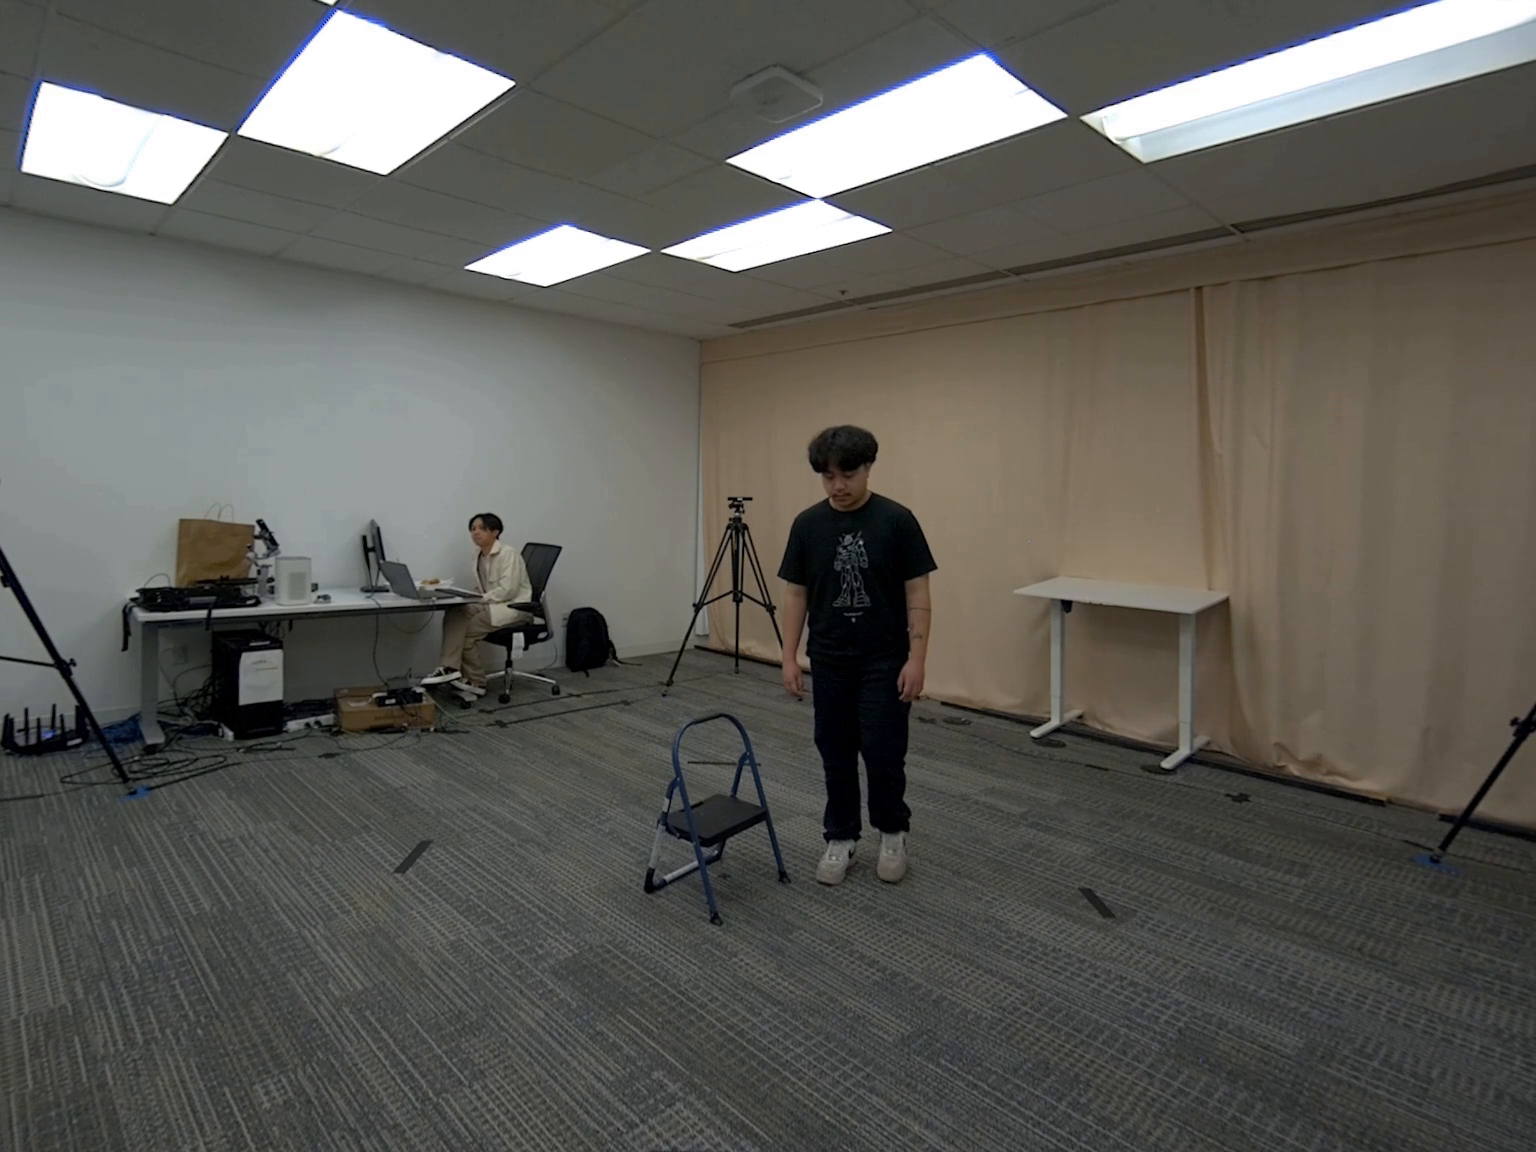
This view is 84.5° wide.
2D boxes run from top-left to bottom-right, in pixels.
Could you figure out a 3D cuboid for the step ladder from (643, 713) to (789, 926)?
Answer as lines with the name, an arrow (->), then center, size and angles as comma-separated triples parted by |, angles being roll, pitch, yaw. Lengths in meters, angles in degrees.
step ladder -> -0.179, 0.814, 2.994 | 0.358, 0.604, 0.421 | 4, 5, 36
